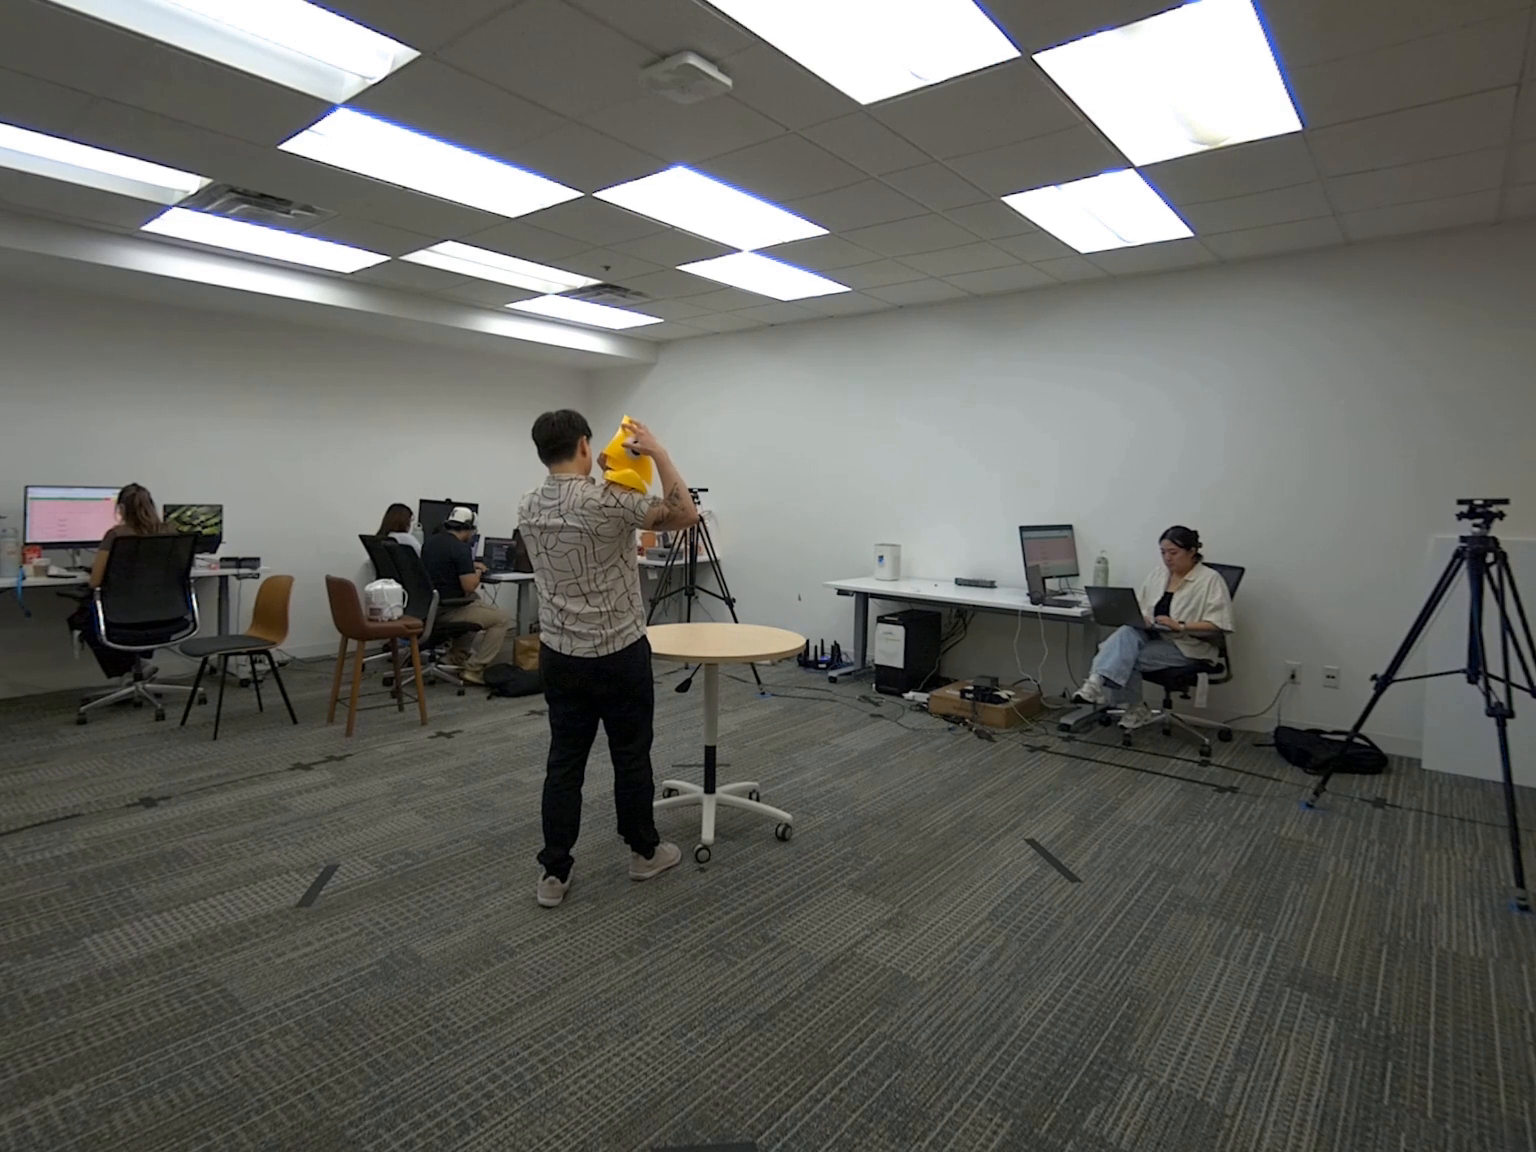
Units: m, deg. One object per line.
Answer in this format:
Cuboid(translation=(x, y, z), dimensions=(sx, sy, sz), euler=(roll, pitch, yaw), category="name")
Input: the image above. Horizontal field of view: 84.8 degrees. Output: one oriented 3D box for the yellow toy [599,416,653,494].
Cuboid(translation=(-0.475, -0.423, 2.897), dimensions=(0.192, 0.231, 0.206), euler=(18, 0, -7), category="yellow toy")
